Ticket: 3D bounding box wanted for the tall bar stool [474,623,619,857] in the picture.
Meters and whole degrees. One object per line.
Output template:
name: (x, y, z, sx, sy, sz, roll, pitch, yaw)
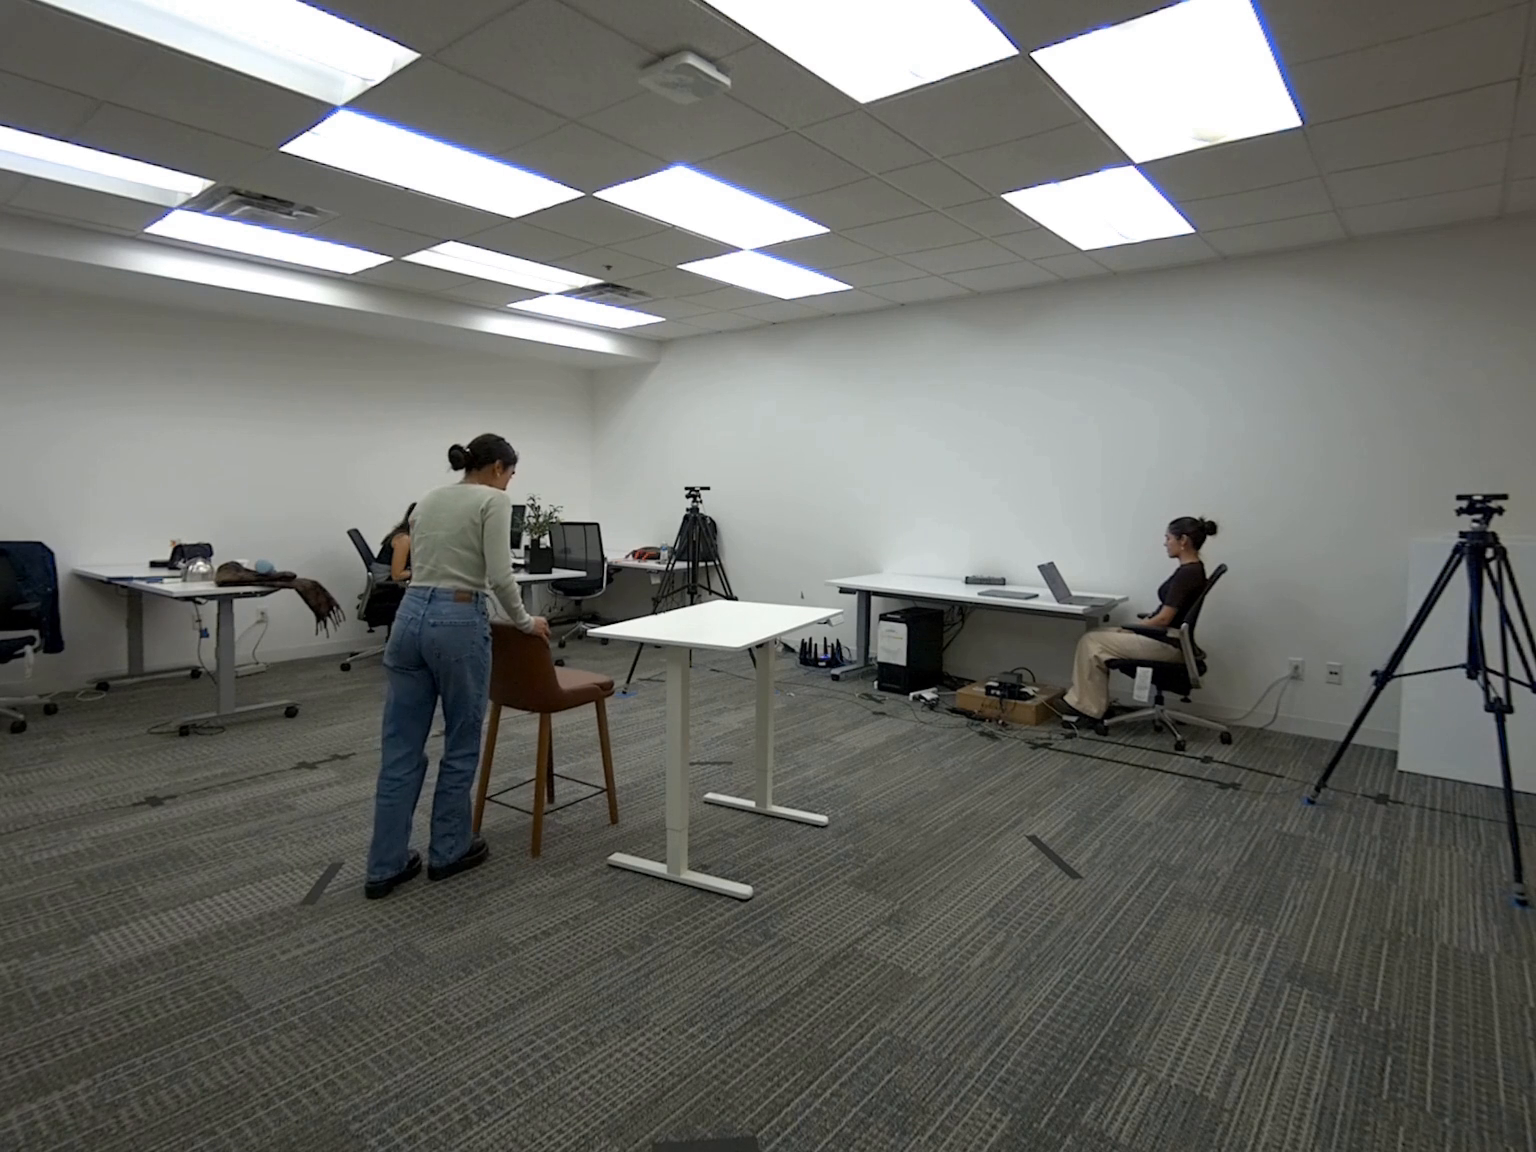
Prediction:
tall bar stool: (-0.919, 0.585, 3.427, 0.471, 0.886, 0.455, 3, 6, 34)
